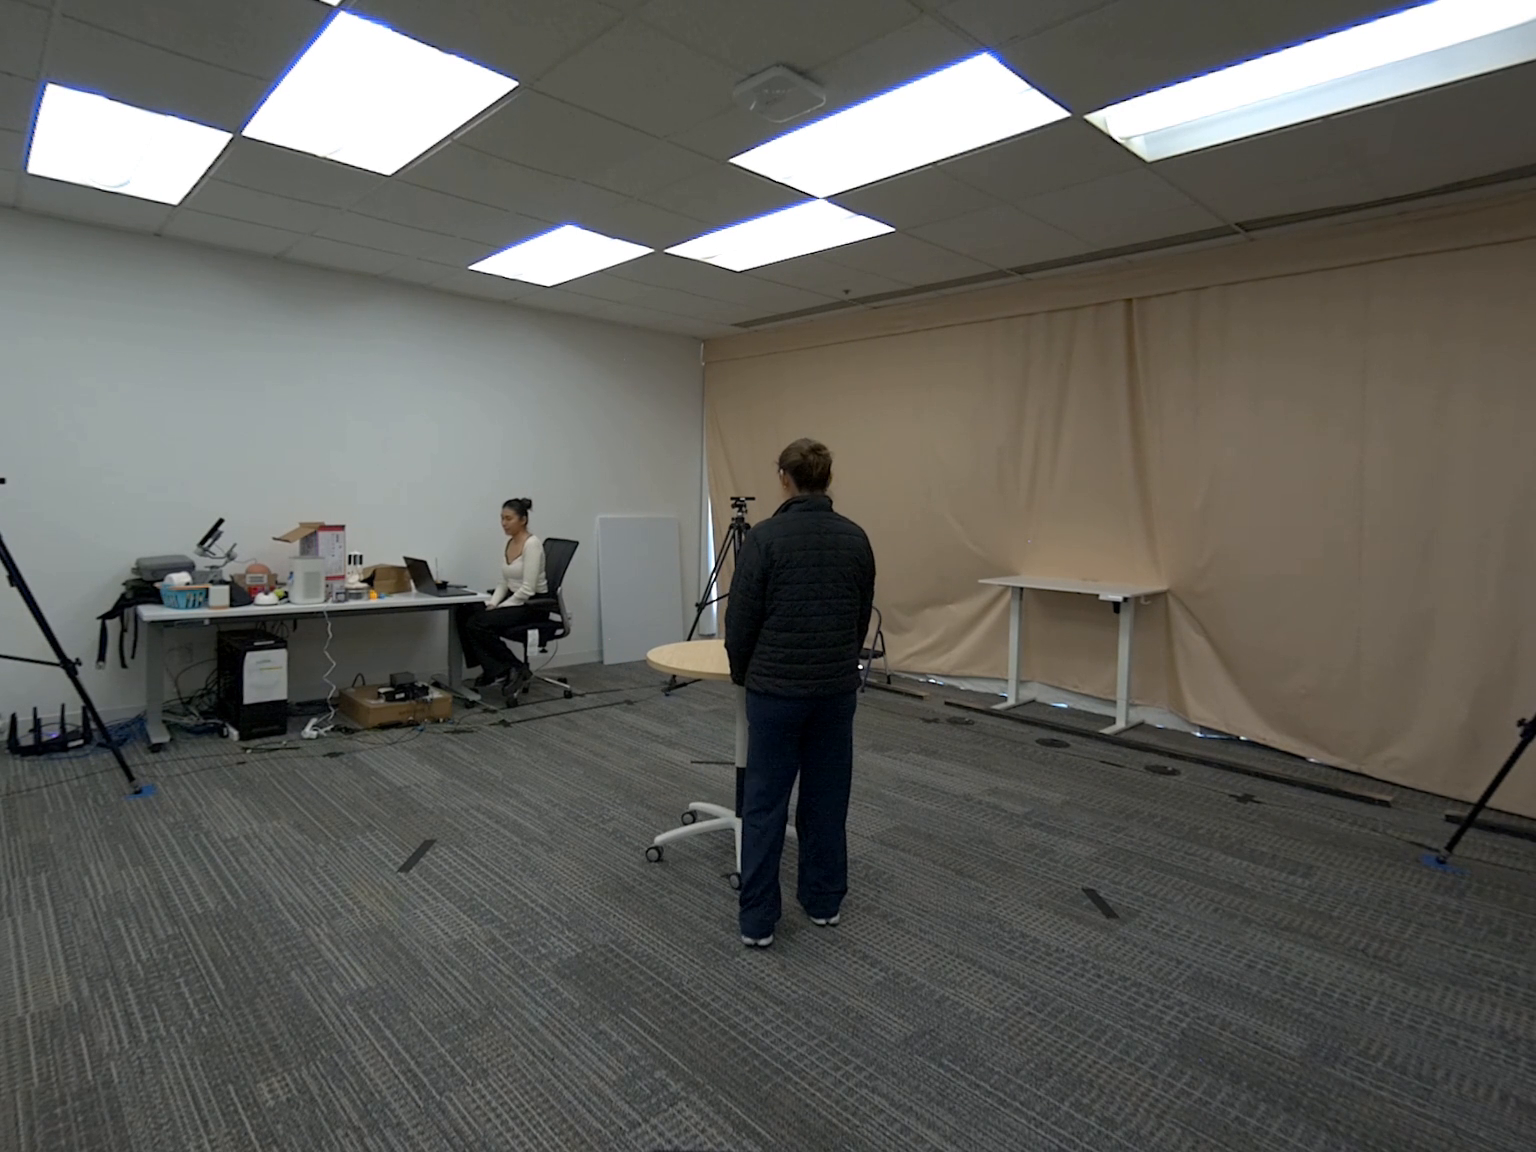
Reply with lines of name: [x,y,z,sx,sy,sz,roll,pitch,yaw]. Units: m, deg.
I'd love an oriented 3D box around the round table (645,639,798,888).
round table: [-0.109,0.701,3.288,0.784,0.785,0.787,1,3,-1]
